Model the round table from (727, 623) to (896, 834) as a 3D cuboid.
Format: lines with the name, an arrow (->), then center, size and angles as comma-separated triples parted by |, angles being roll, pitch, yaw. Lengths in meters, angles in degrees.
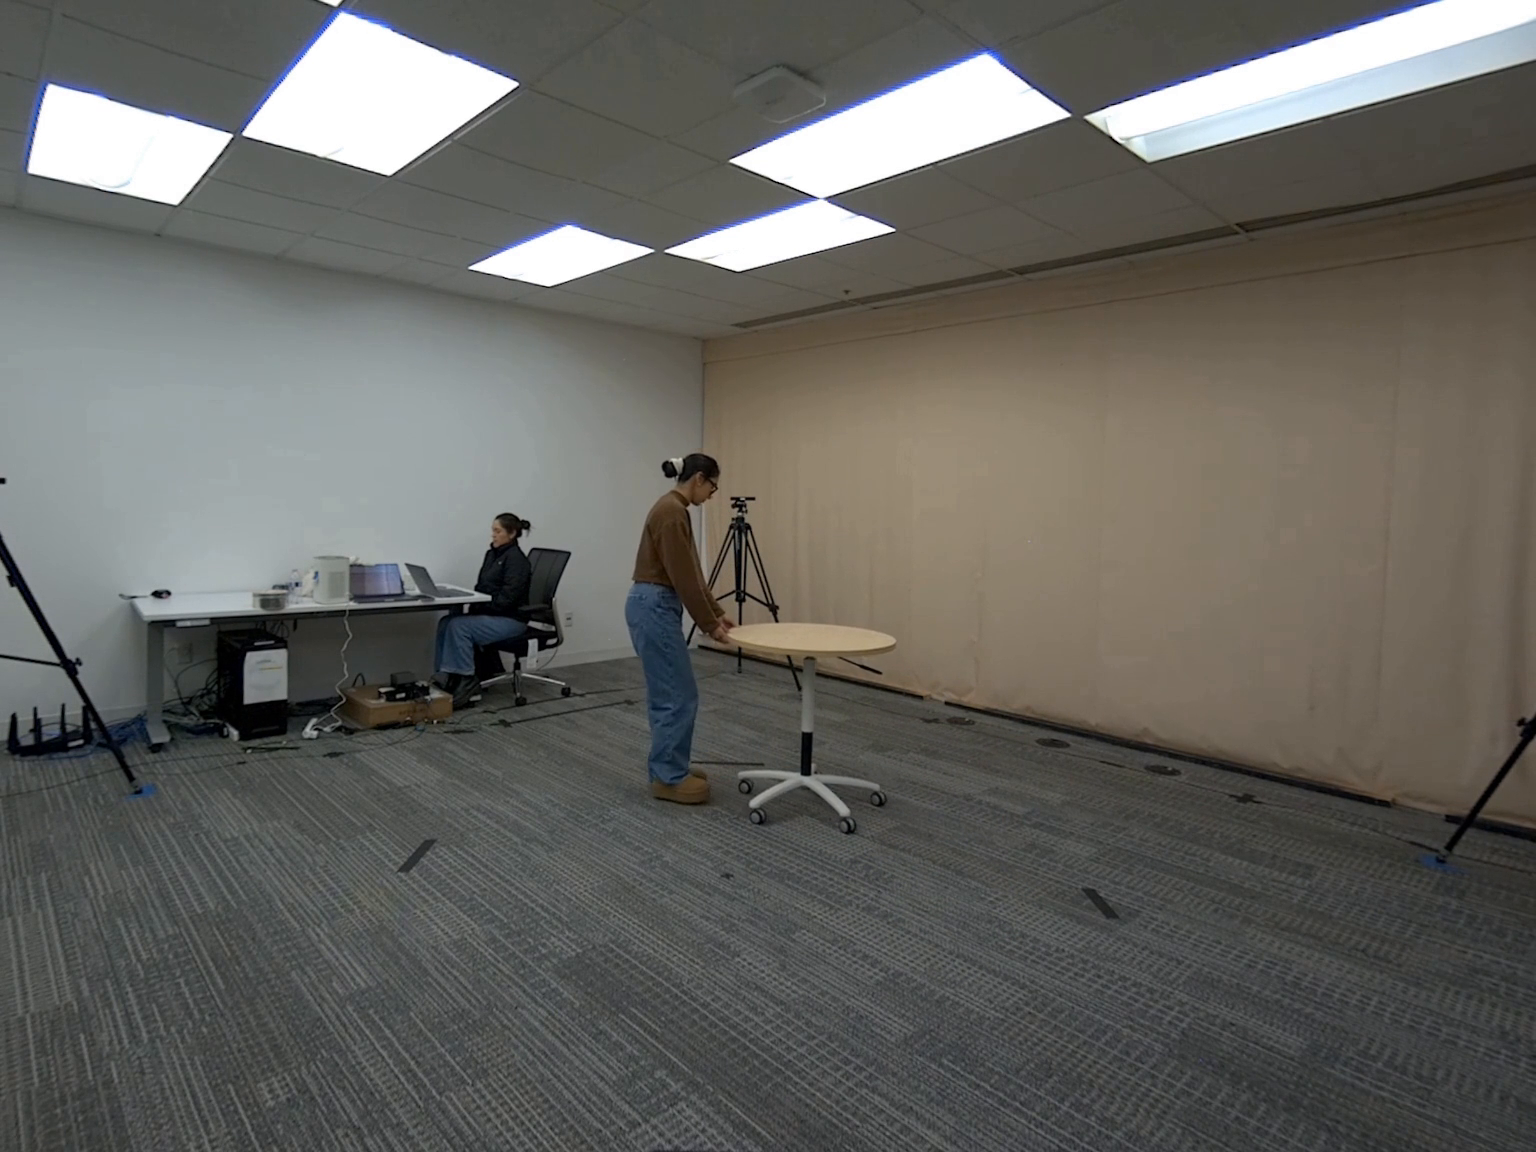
round table -> 0.172, 0.664, 3.834 | 0.763, 0.792, 0.766 | 2, 4, -1
